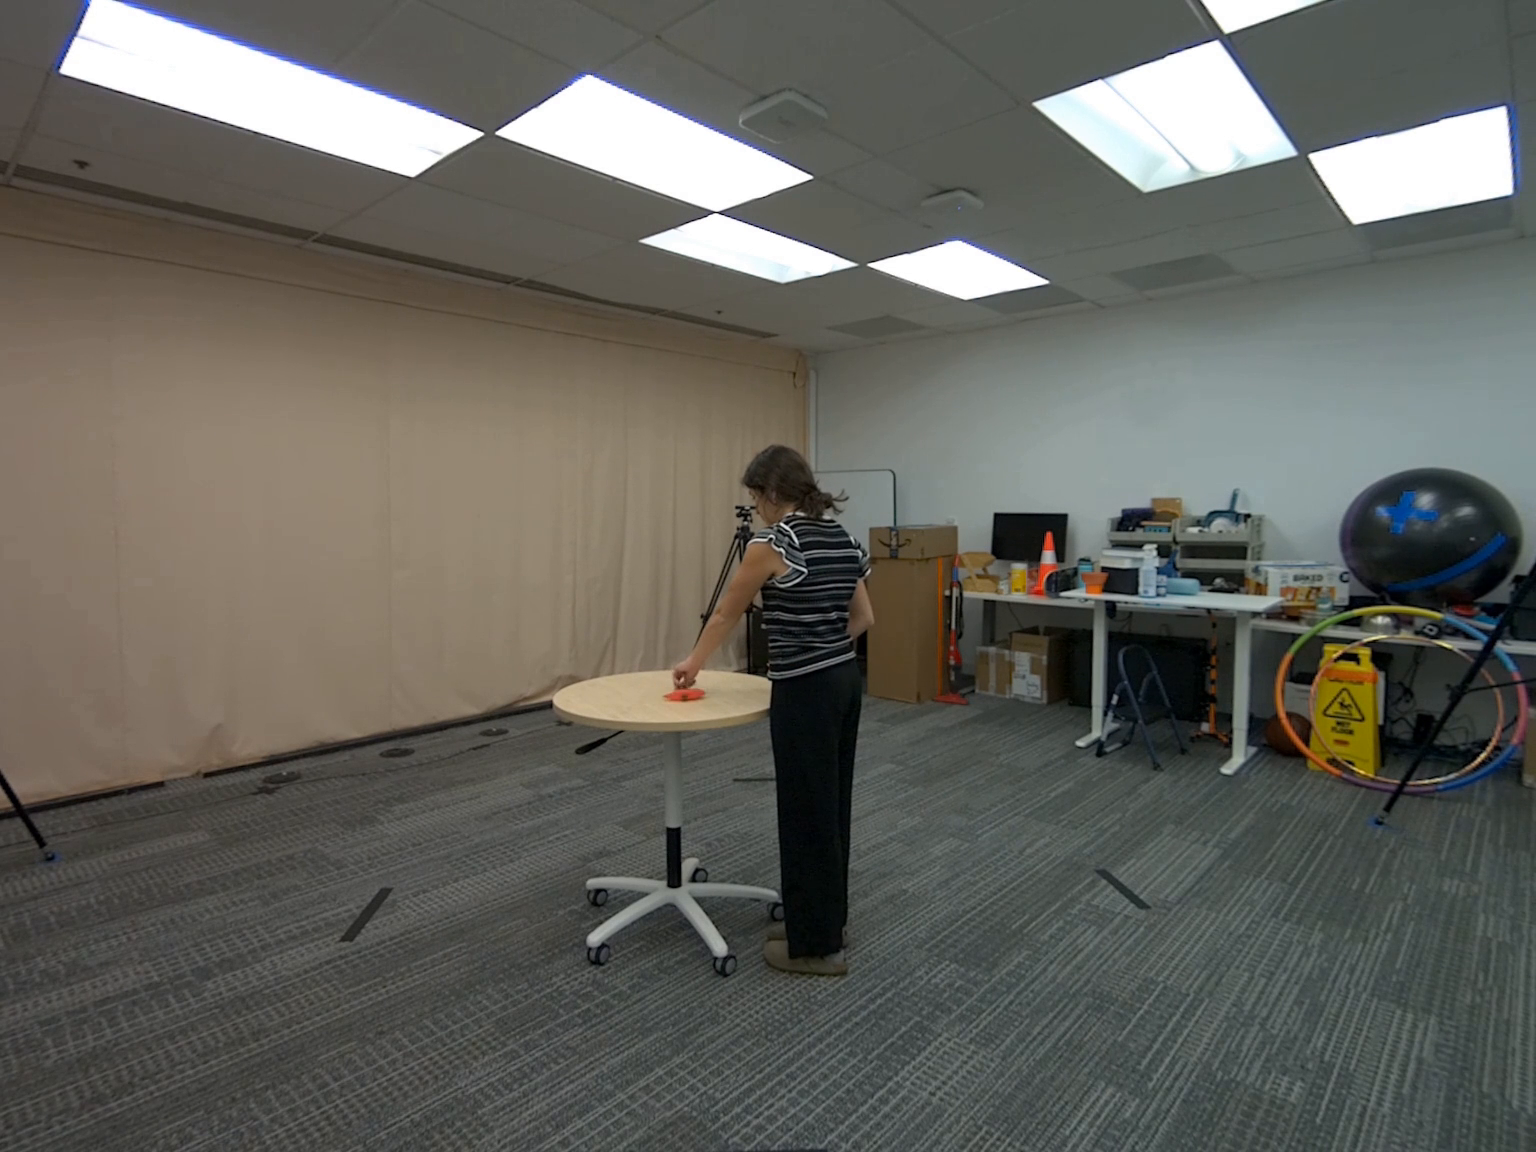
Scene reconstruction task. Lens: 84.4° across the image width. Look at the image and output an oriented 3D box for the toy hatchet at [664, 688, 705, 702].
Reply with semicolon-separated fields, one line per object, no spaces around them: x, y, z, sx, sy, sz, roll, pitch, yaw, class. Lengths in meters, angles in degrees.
-0.251;0.369;2.748;0.133;0.029;0.267;-4;5;13;toy hatchet
